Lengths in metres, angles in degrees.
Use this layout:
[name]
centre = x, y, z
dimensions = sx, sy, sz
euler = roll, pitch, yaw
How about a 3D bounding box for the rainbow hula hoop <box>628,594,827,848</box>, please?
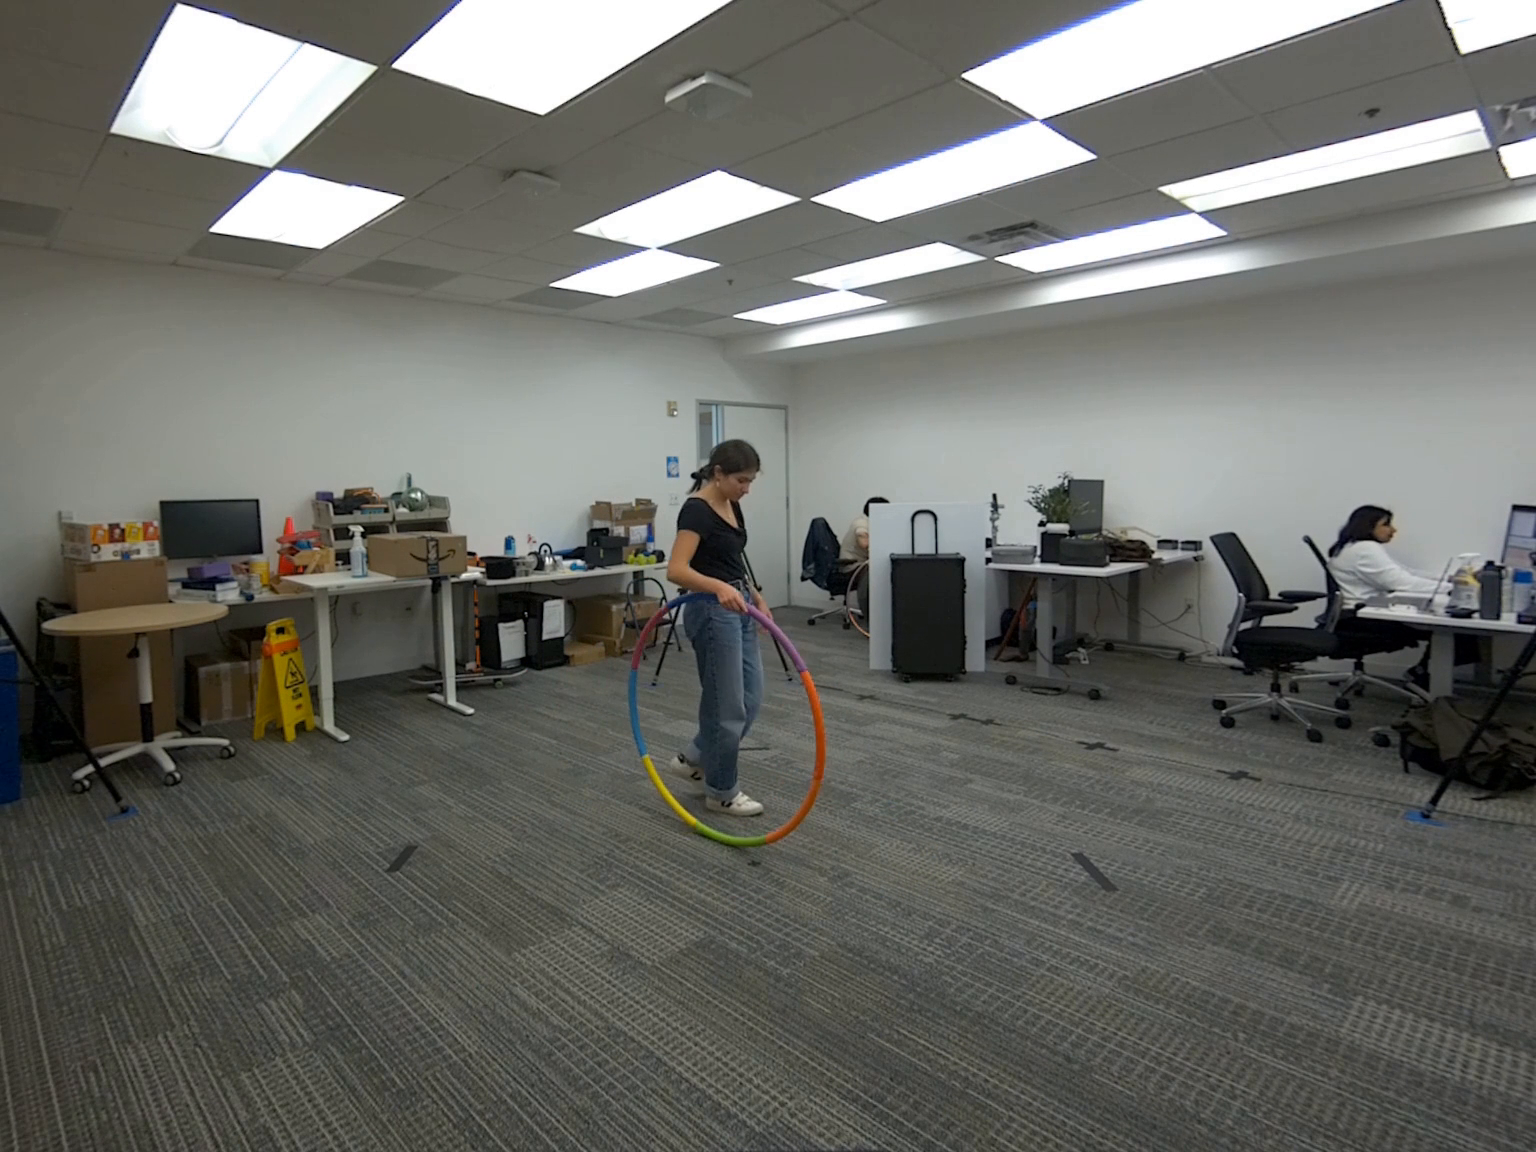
[rainbow hula hoop]
centre = -0.192, 0.540, 3.263
dimensions = 1.008, 0.975, 0.034
euler = 3, 6, 41
